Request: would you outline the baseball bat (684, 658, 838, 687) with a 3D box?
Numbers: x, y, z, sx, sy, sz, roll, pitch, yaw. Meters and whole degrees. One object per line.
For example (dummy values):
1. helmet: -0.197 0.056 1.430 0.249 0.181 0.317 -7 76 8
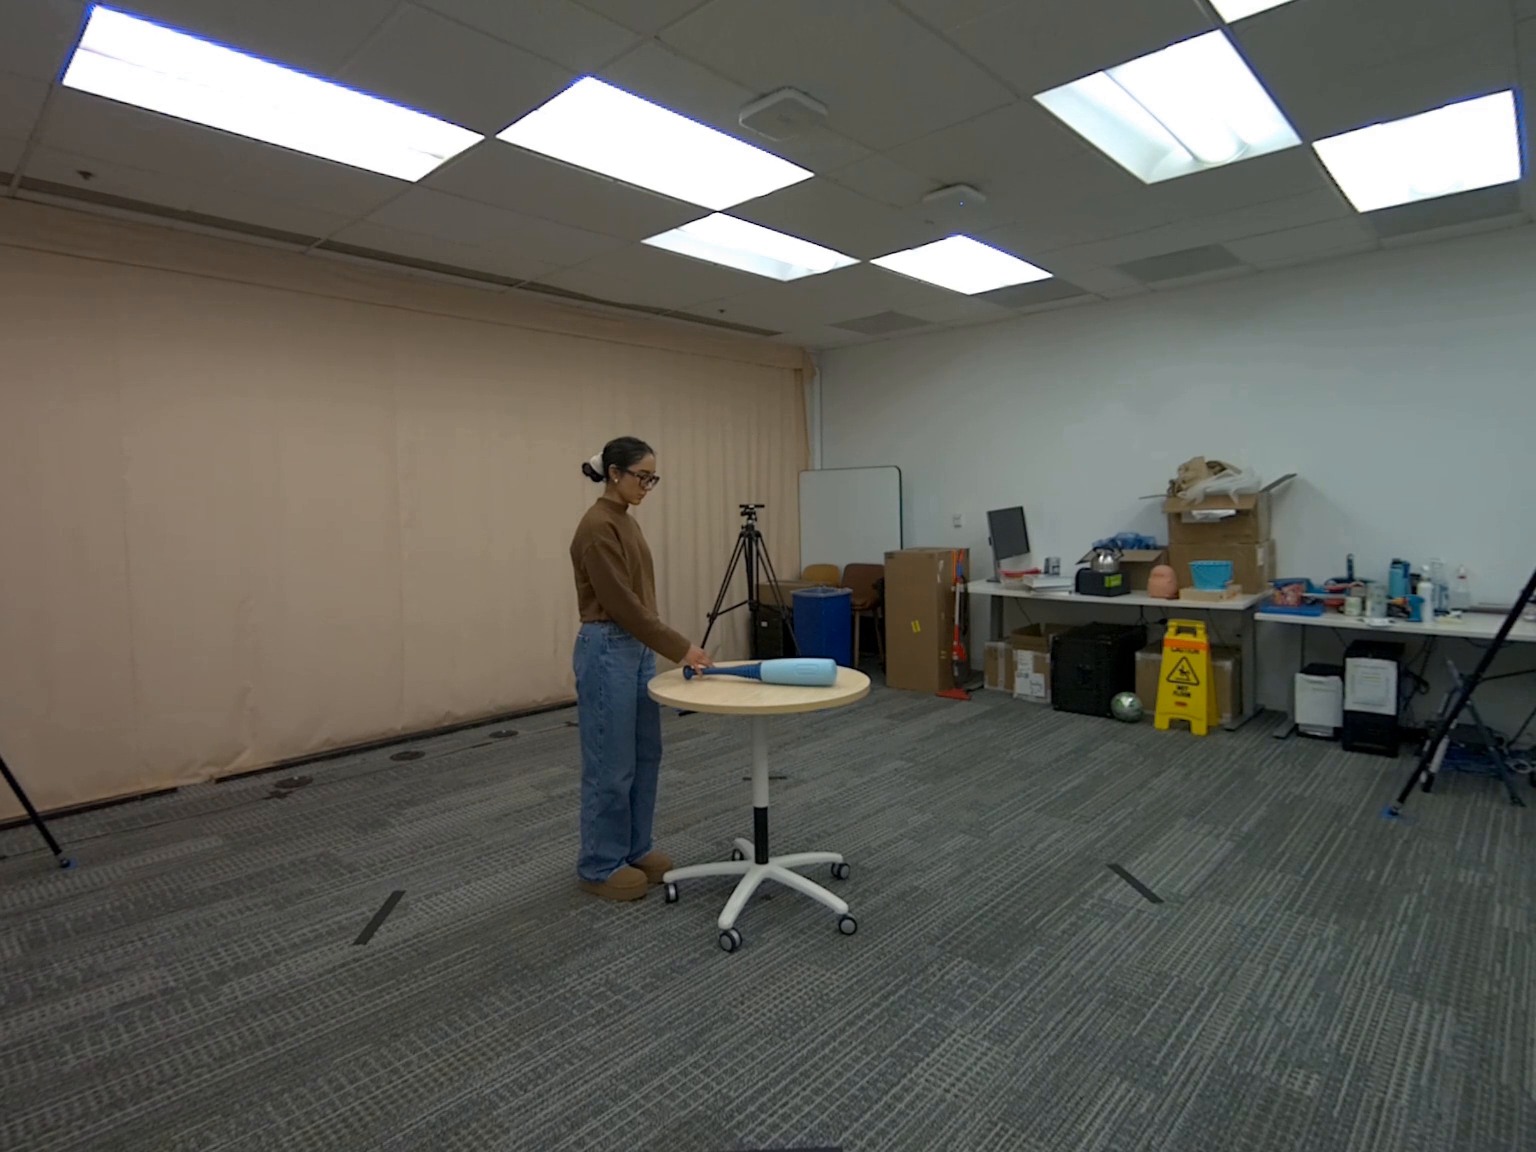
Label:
1. baseball bat: -0.028 0.333 2.871 0.553 0.089 0.087 -3 3 19
